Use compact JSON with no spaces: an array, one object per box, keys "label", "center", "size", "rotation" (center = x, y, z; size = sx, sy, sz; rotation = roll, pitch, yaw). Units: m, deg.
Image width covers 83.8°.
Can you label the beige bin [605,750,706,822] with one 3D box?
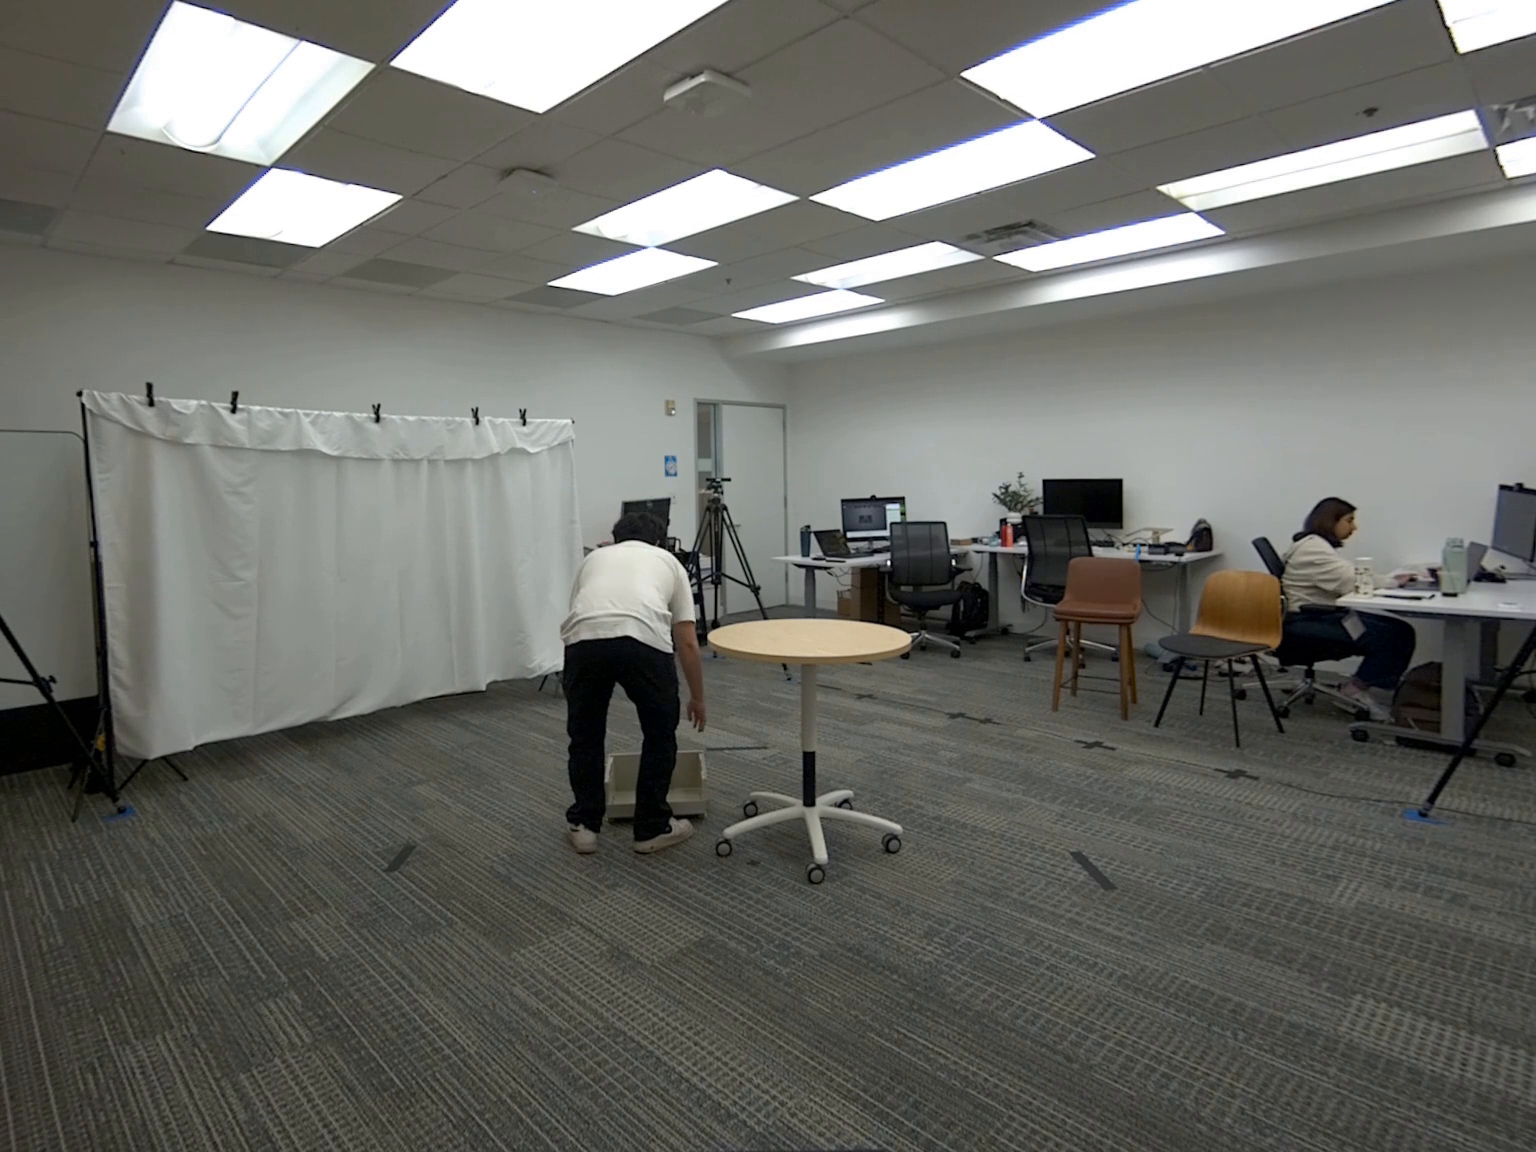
[{"label":"beige bin","center":[-0.474,0.897,3.651],"size":[0.420,0.188,0.381],"rotation":[-2,6,-5]}]
